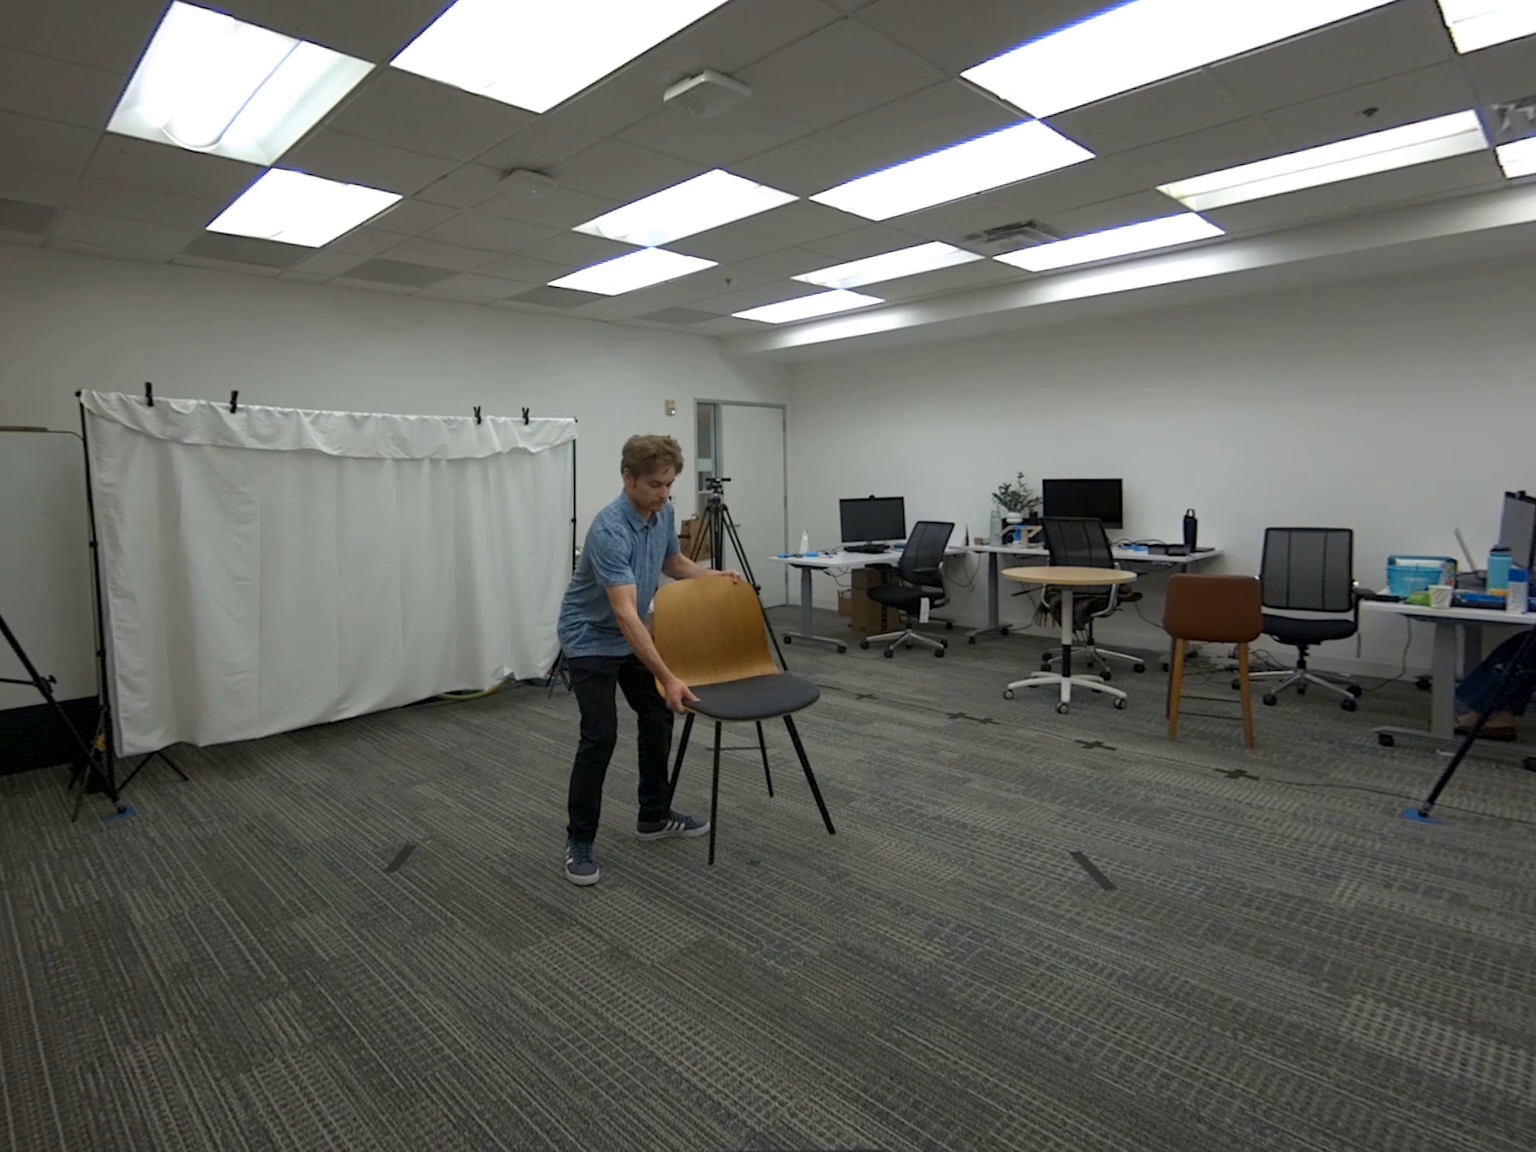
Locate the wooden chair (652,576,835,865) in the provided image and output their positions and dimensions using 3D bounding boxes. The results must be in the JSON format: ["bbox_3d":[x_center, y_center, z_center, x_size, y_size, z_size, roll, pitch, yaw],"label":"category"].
[{"bbox_3d":[-0.110,0.442,2.908,0.469,0.879,0.533,-5,-1,-25],"label":"wooden chair"}]
